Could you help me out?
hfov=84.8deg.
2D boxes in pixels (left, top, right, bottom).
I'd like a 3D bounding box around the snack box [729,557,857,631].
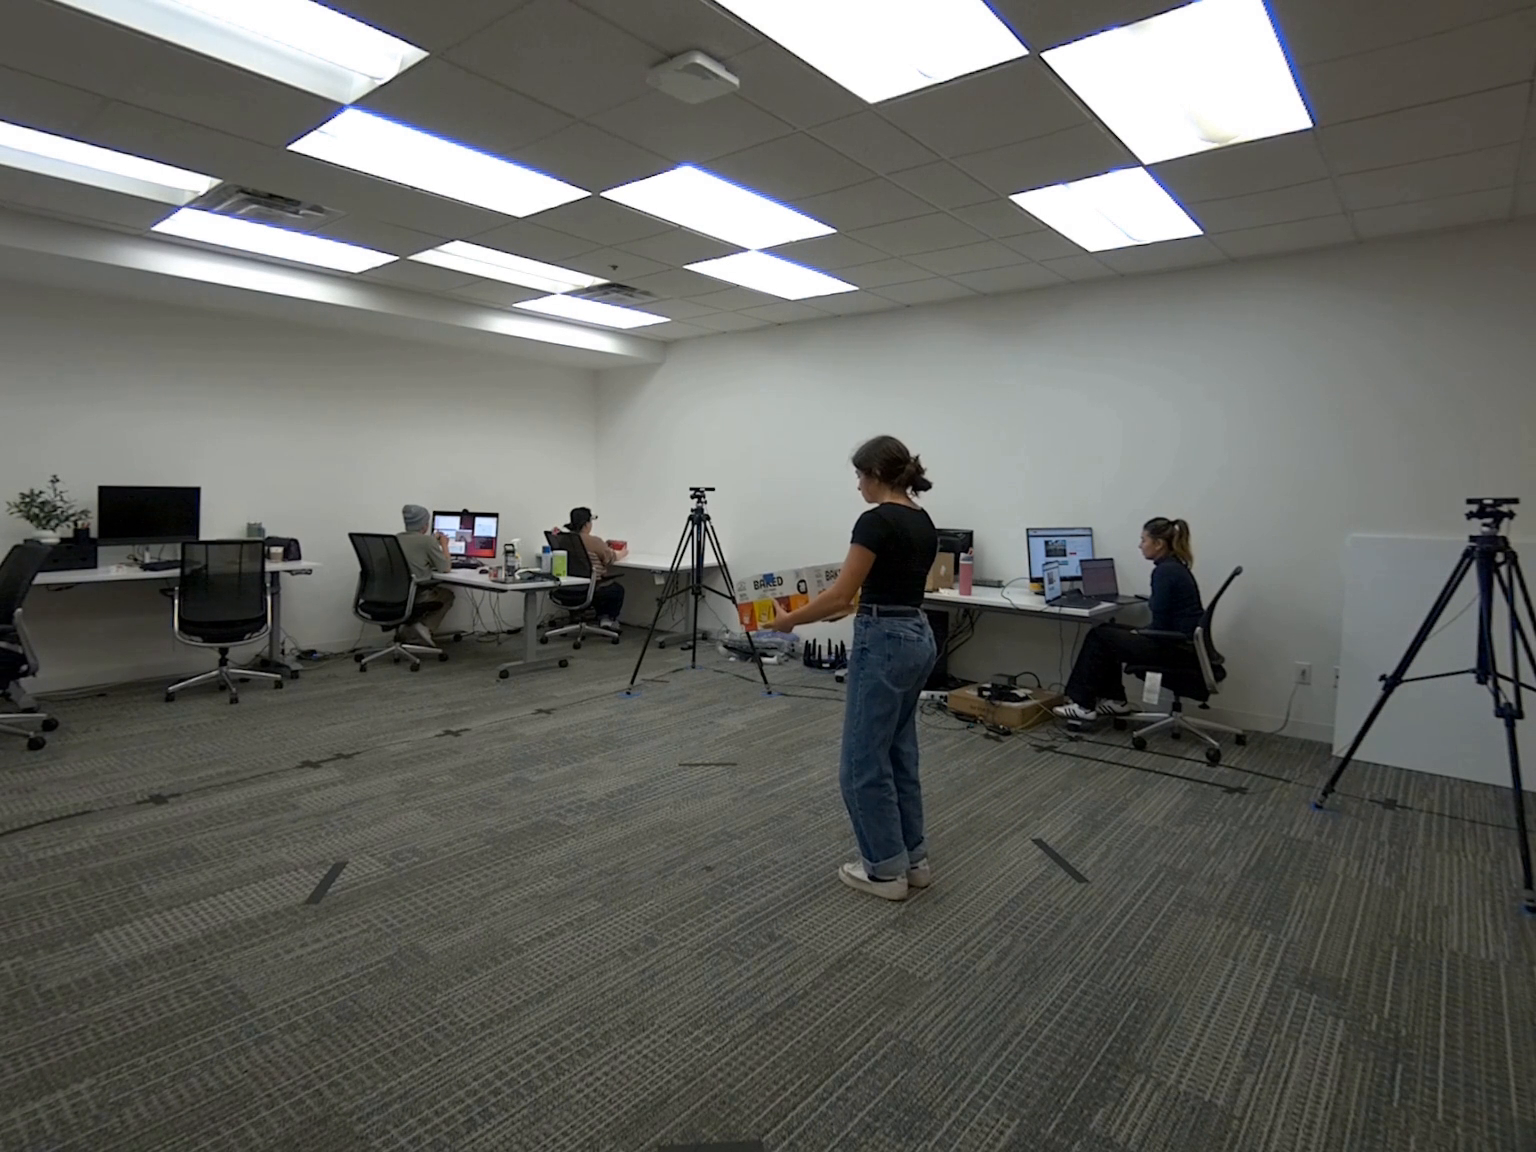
[{"bbox_3d":[0.123,0.063,3.262,0.349,0.206,0.394,-11,-2,38],"label":"snack box"}]
